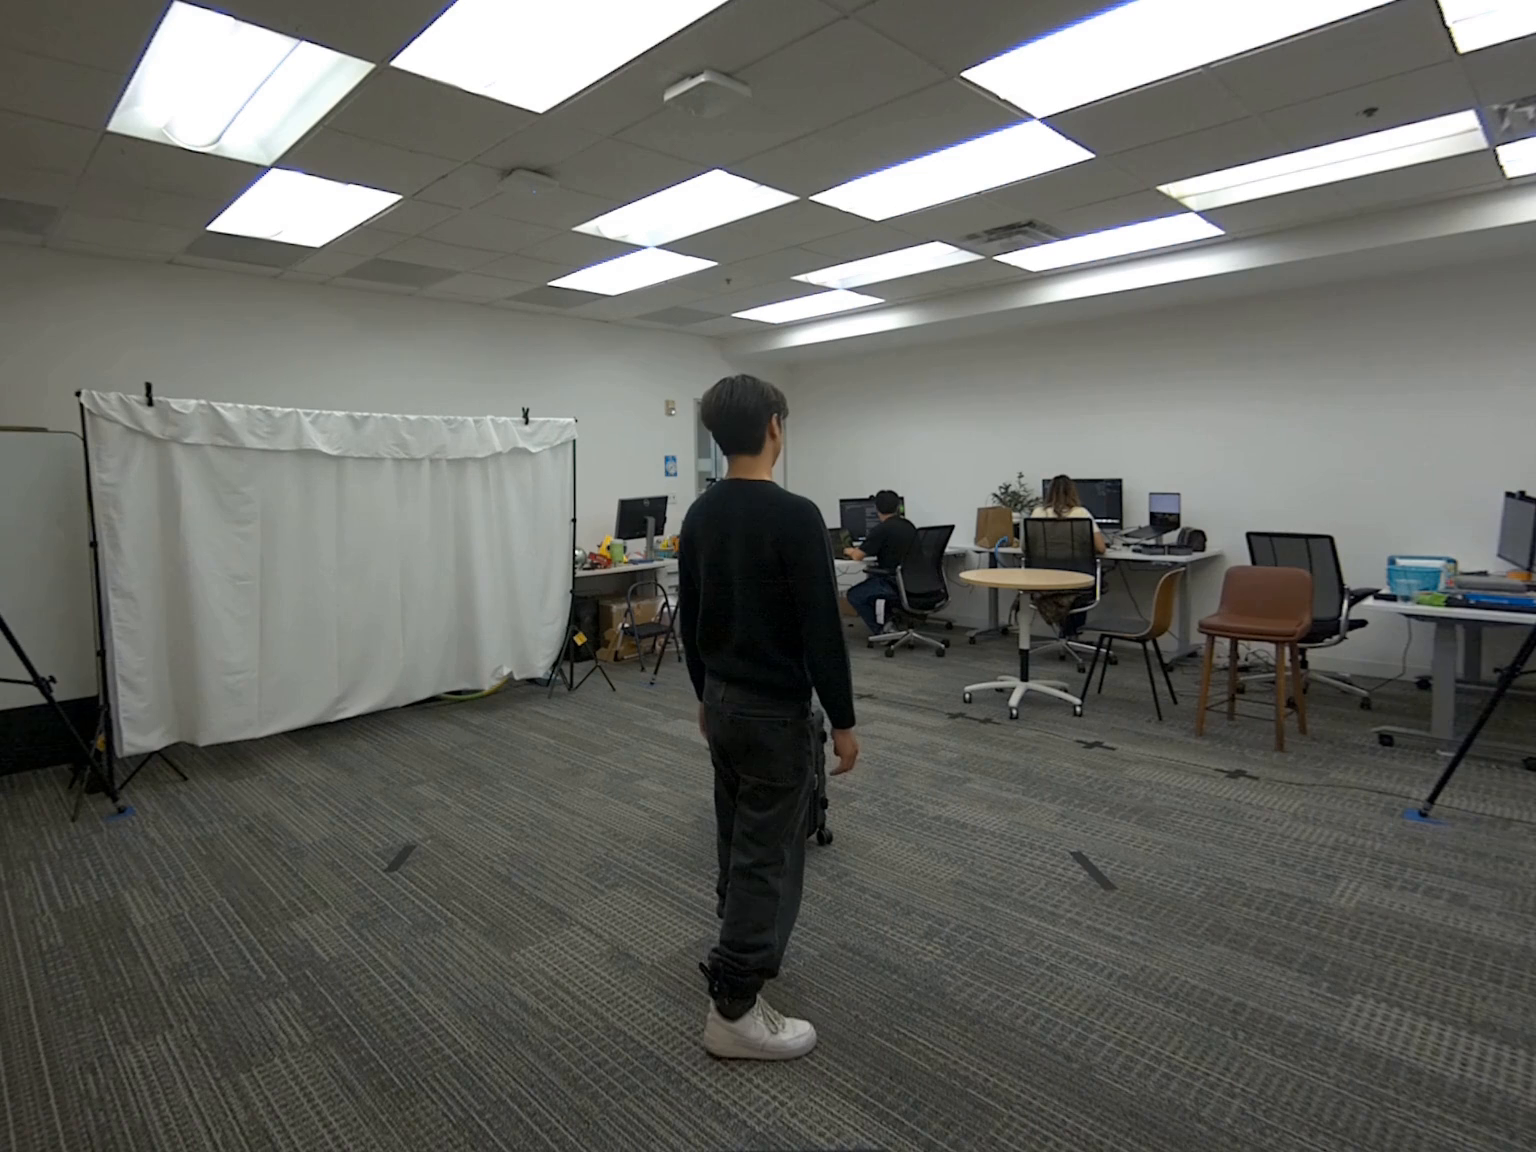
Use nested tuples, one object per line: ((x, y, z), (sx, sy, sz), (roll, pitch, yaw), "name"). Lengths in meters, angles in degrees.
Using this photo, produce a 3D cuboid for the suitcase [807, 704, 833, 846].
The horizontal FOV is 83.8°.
((0.028, 0.748, 3.264), (0.386, 0.548, 0.242), (1, 4, 37), "suitcase")
